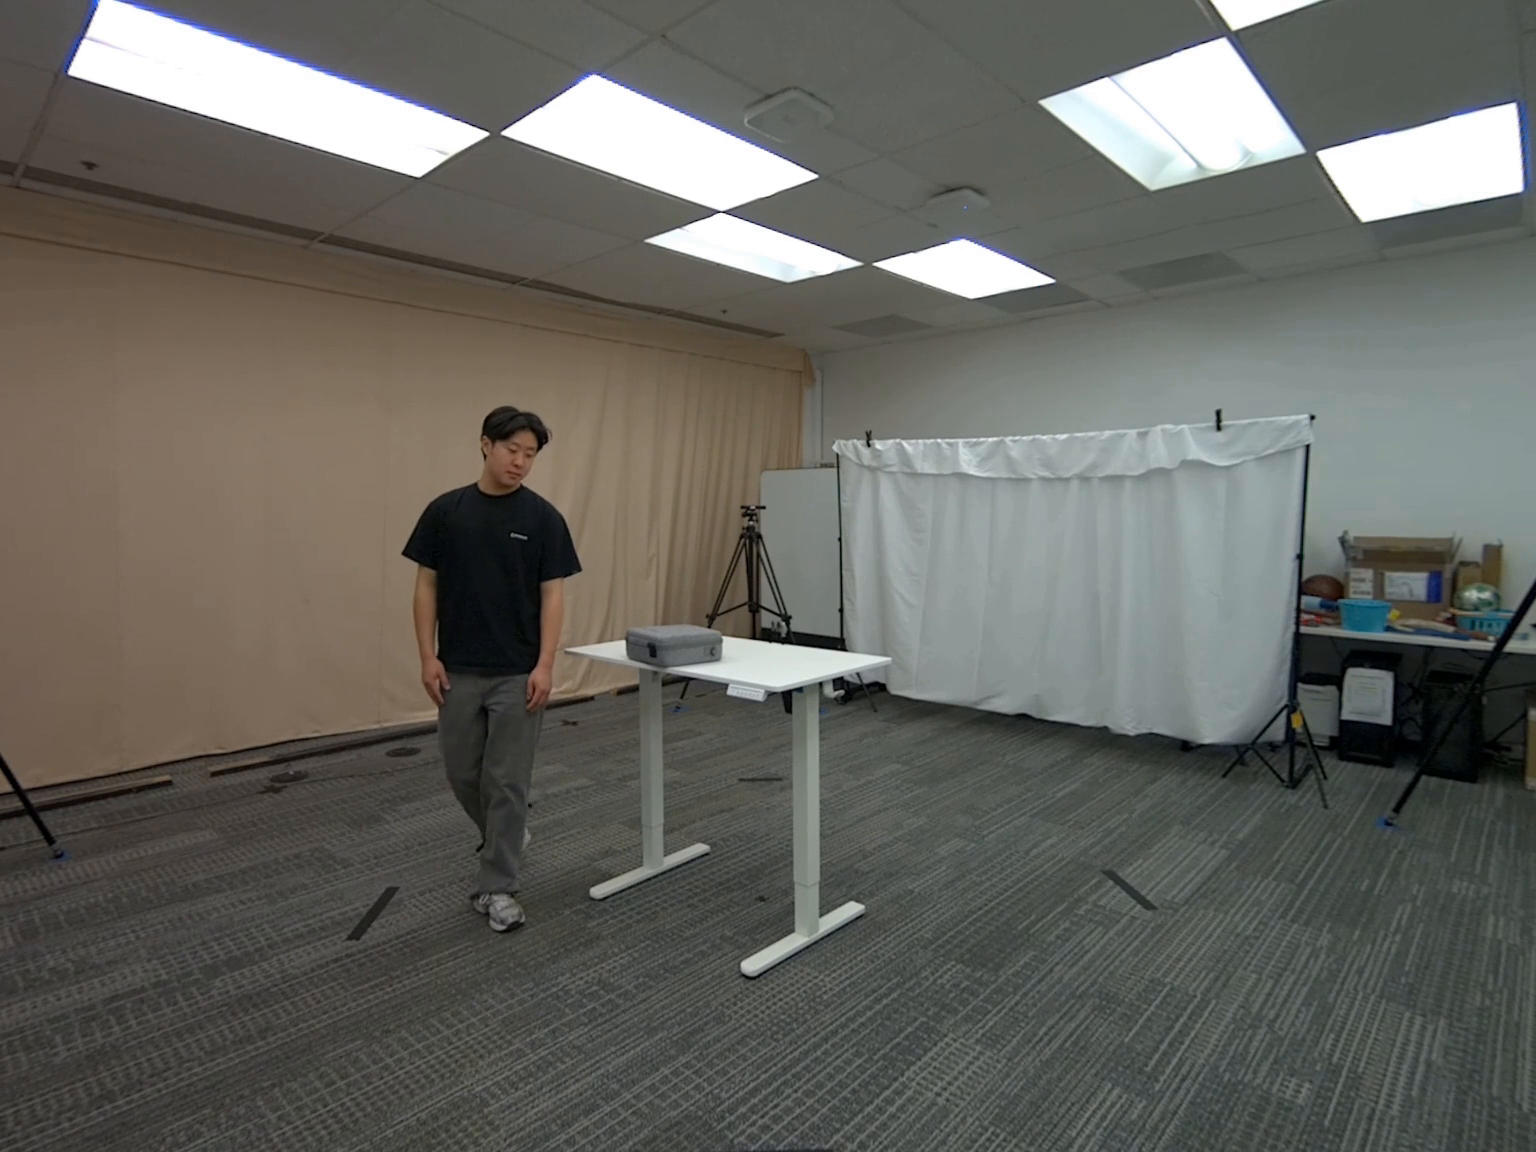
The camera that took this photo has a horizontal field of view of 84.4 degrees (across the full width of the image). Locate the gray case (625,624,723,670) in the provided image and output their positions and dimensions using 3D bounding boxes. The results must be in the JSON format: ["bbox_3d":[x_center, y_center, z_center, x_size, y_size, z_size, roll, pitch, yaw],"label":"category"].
[{"bbox_3d":[-0.309,0.226,2.793,0.253,0.104,0.265,-3,4,-34],"label":"gray case"}]
